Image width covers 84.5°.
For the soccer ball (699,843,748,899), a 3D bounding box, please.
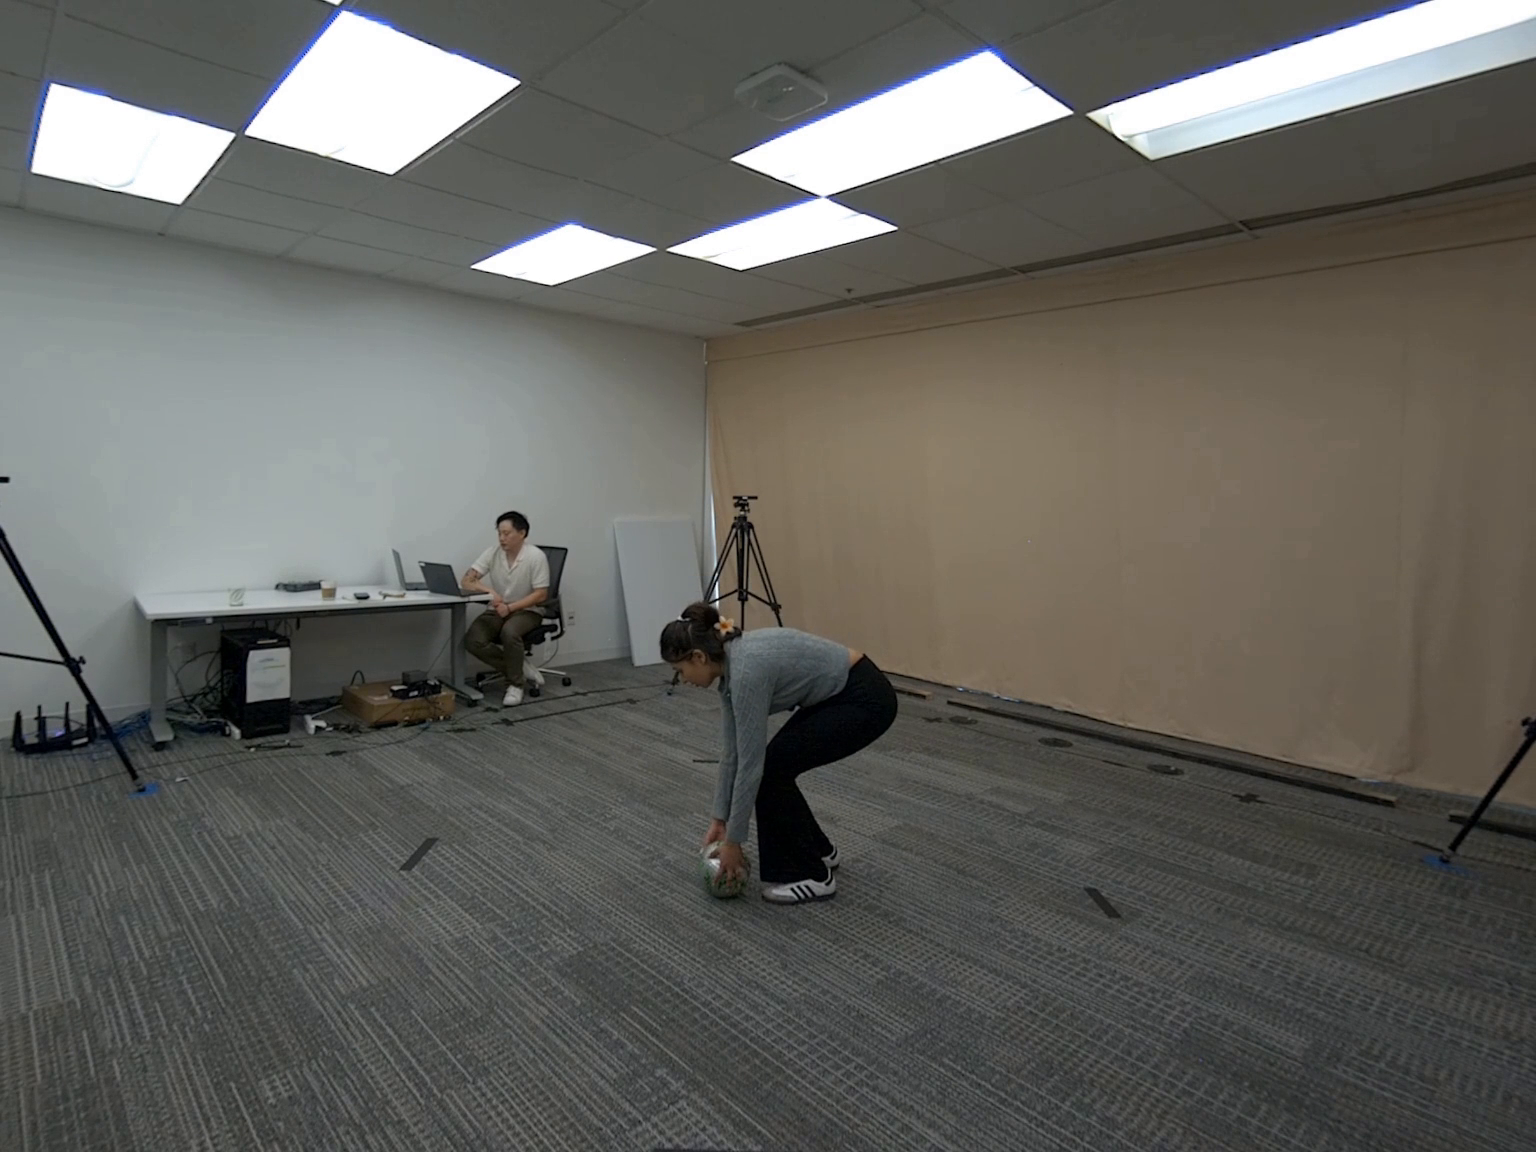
[{"bbox_3d":[-0.158,1.007,2.942,0.187,0.187,0.188,1,4,-1],"label":"soccer ball"}]
